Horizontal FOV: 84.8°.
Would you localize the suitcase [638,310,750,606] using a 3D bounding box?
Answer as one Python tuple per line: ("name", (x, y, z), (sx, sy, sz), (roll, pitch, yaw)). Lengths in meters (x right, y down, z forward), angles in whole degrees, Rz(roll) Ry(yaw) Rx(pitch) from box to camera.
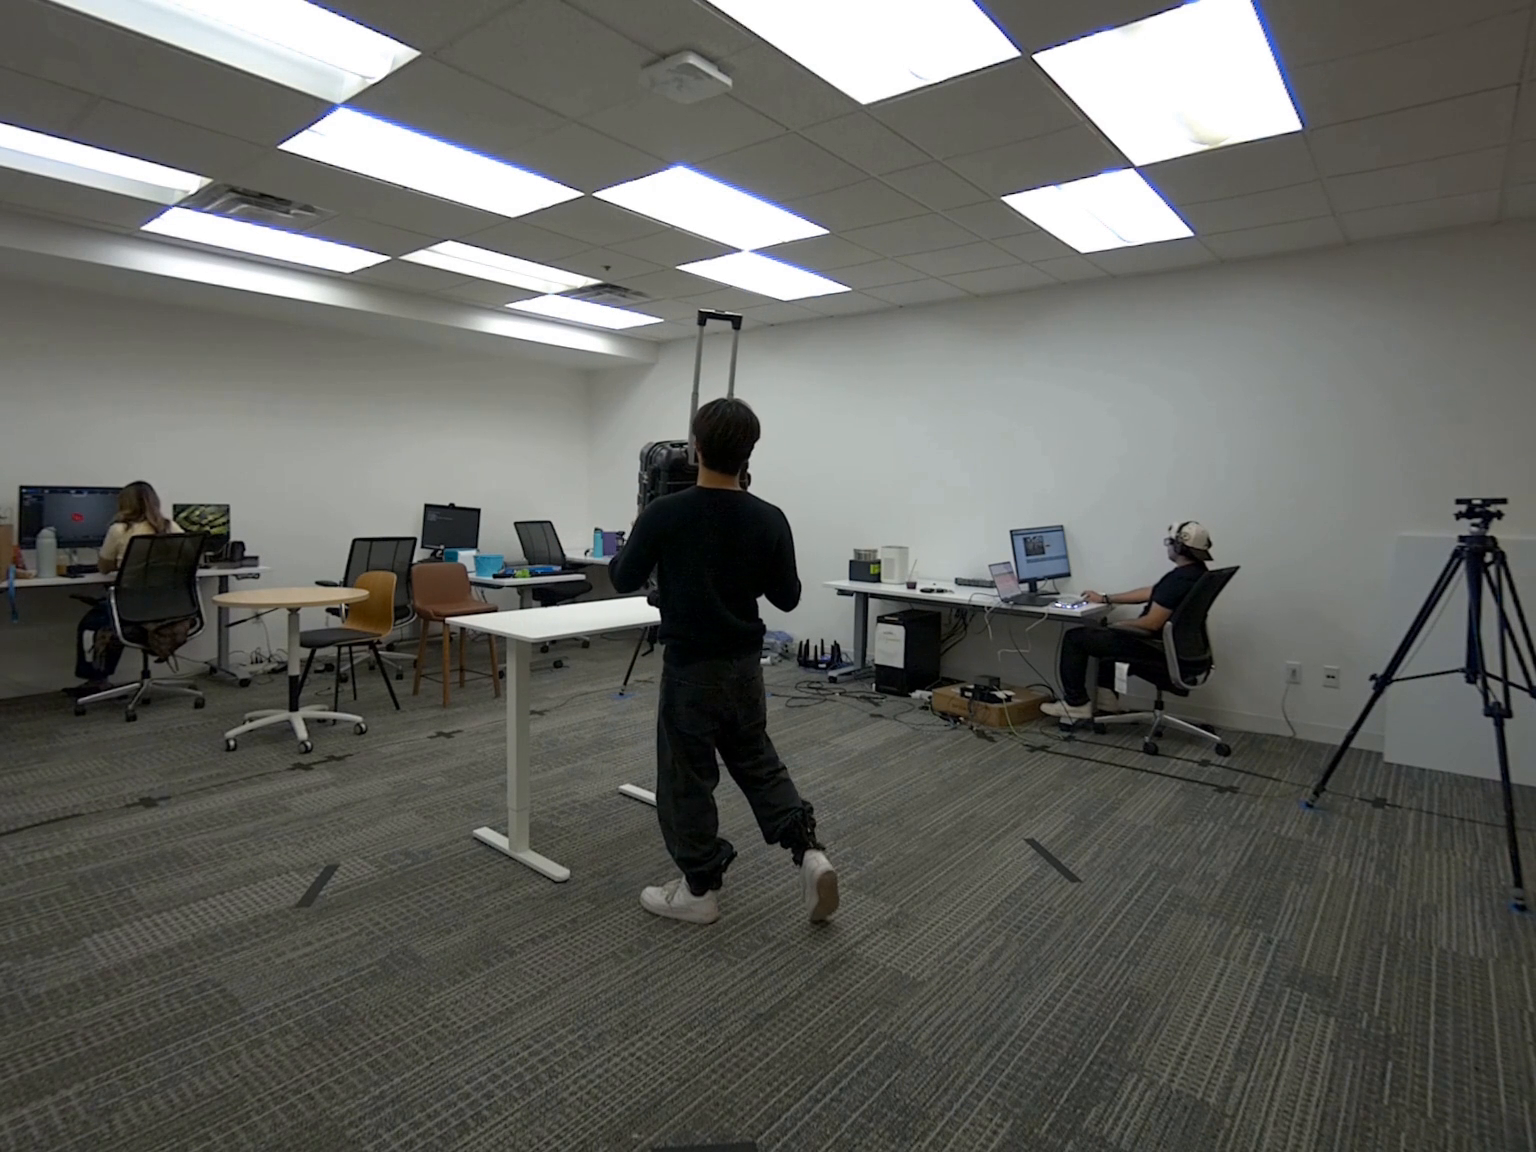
("suitcase", (-0.266, -0.402, 2.938), (0.374, 0.968, 0.266), (-3, 13, -29))
